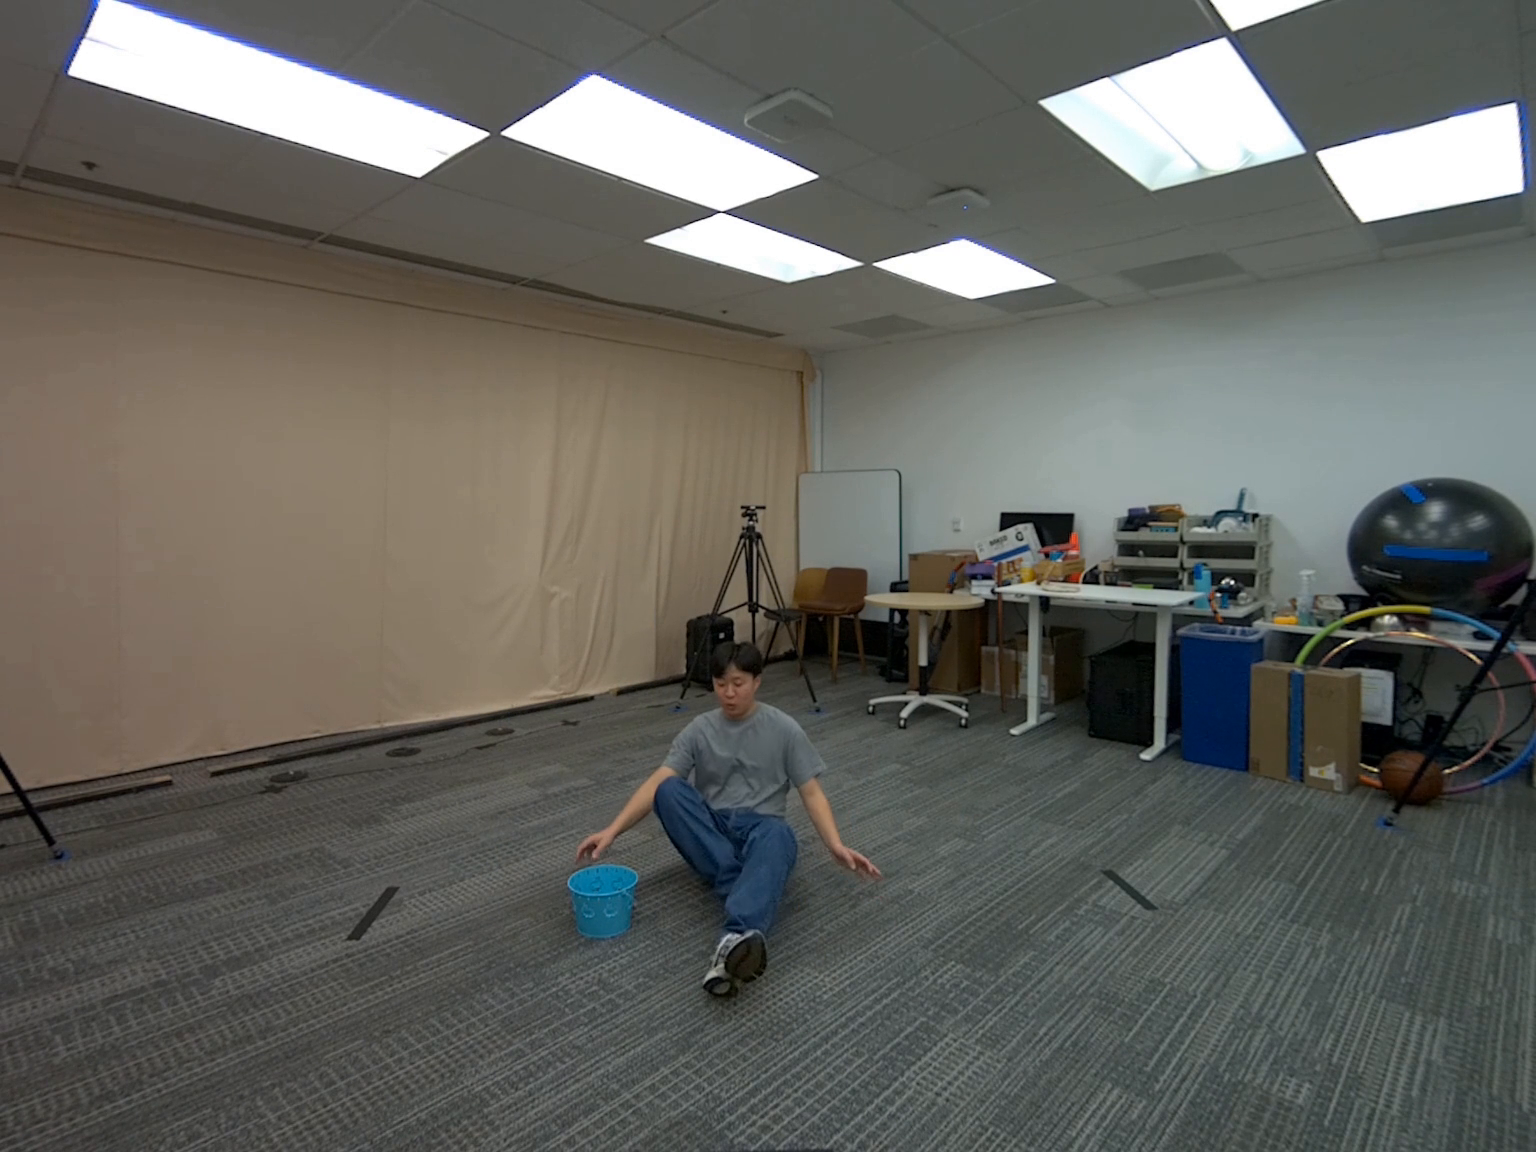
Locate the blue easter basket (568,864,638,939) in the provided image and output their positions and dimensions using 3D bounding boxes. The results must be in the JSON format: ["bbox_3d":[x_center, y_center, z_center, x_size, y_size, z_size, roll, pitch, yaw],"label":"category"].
[{"bbox_3d":[-0.544,1.090,2.806,0.243,0.155,0.245,-1,6,-2],"label":"blue easter basket"}]
